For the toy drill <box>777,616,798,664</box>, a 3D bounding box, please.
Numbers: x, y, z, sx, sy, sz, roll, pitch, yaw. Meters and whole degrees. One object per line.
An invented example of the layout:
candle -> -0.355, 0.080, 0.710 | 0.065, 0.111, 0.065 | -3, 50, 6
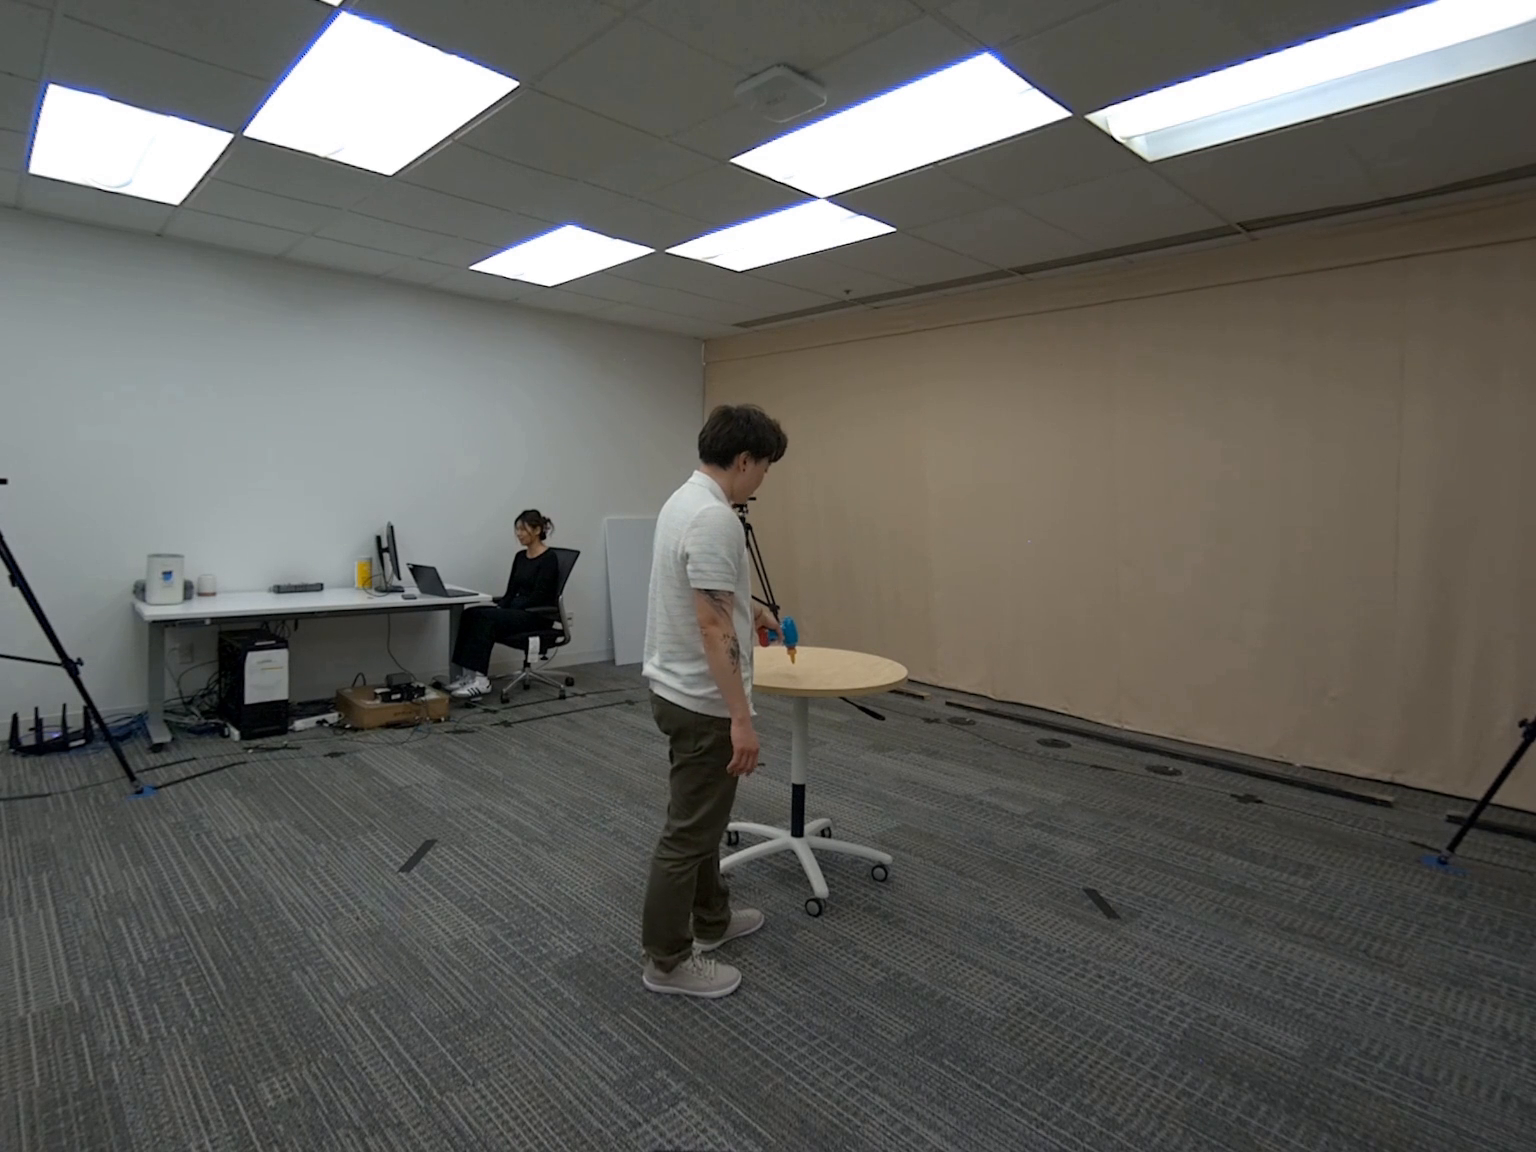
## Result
toy drill -> 0.035, 0.237, 2.927 | 0.144, 0.168, 0.062 | -12, 11, -26
